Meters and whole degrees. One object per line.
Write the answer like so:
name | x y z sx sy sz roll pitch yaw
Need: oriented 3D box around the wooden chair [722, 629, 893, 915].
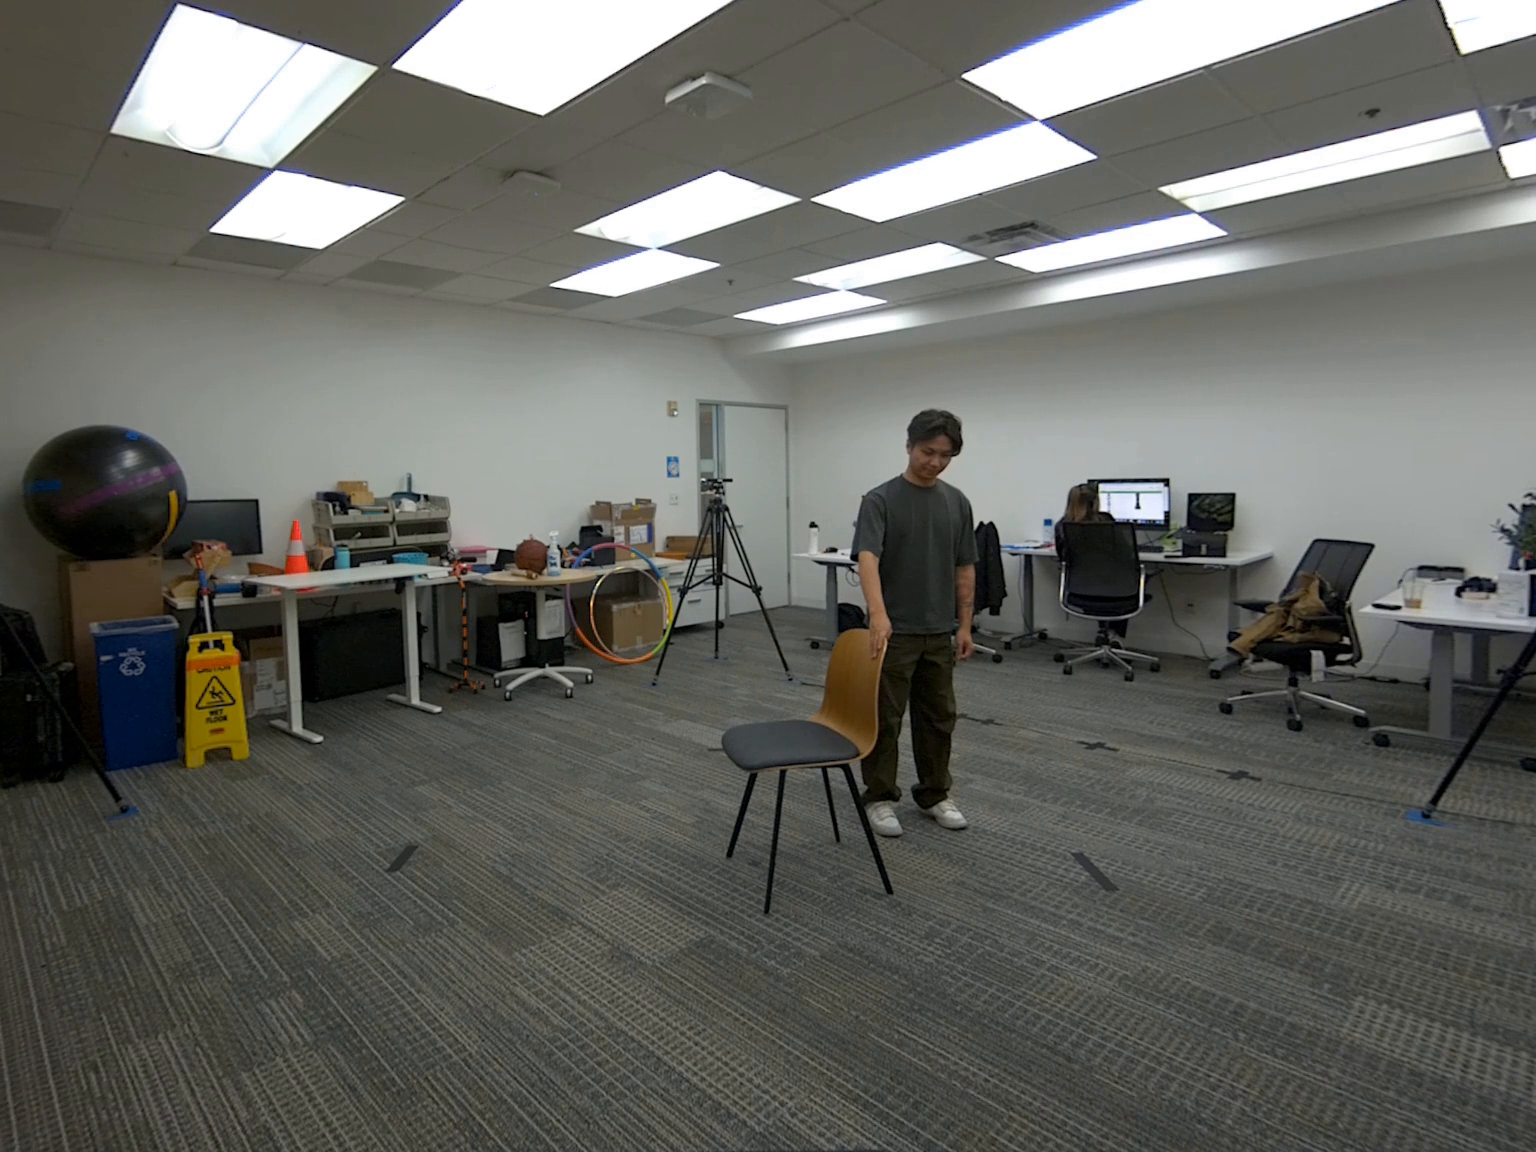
wooden chair | 0.122 0.629 2.975 0.514 0.875 0.487 2 4 -18
